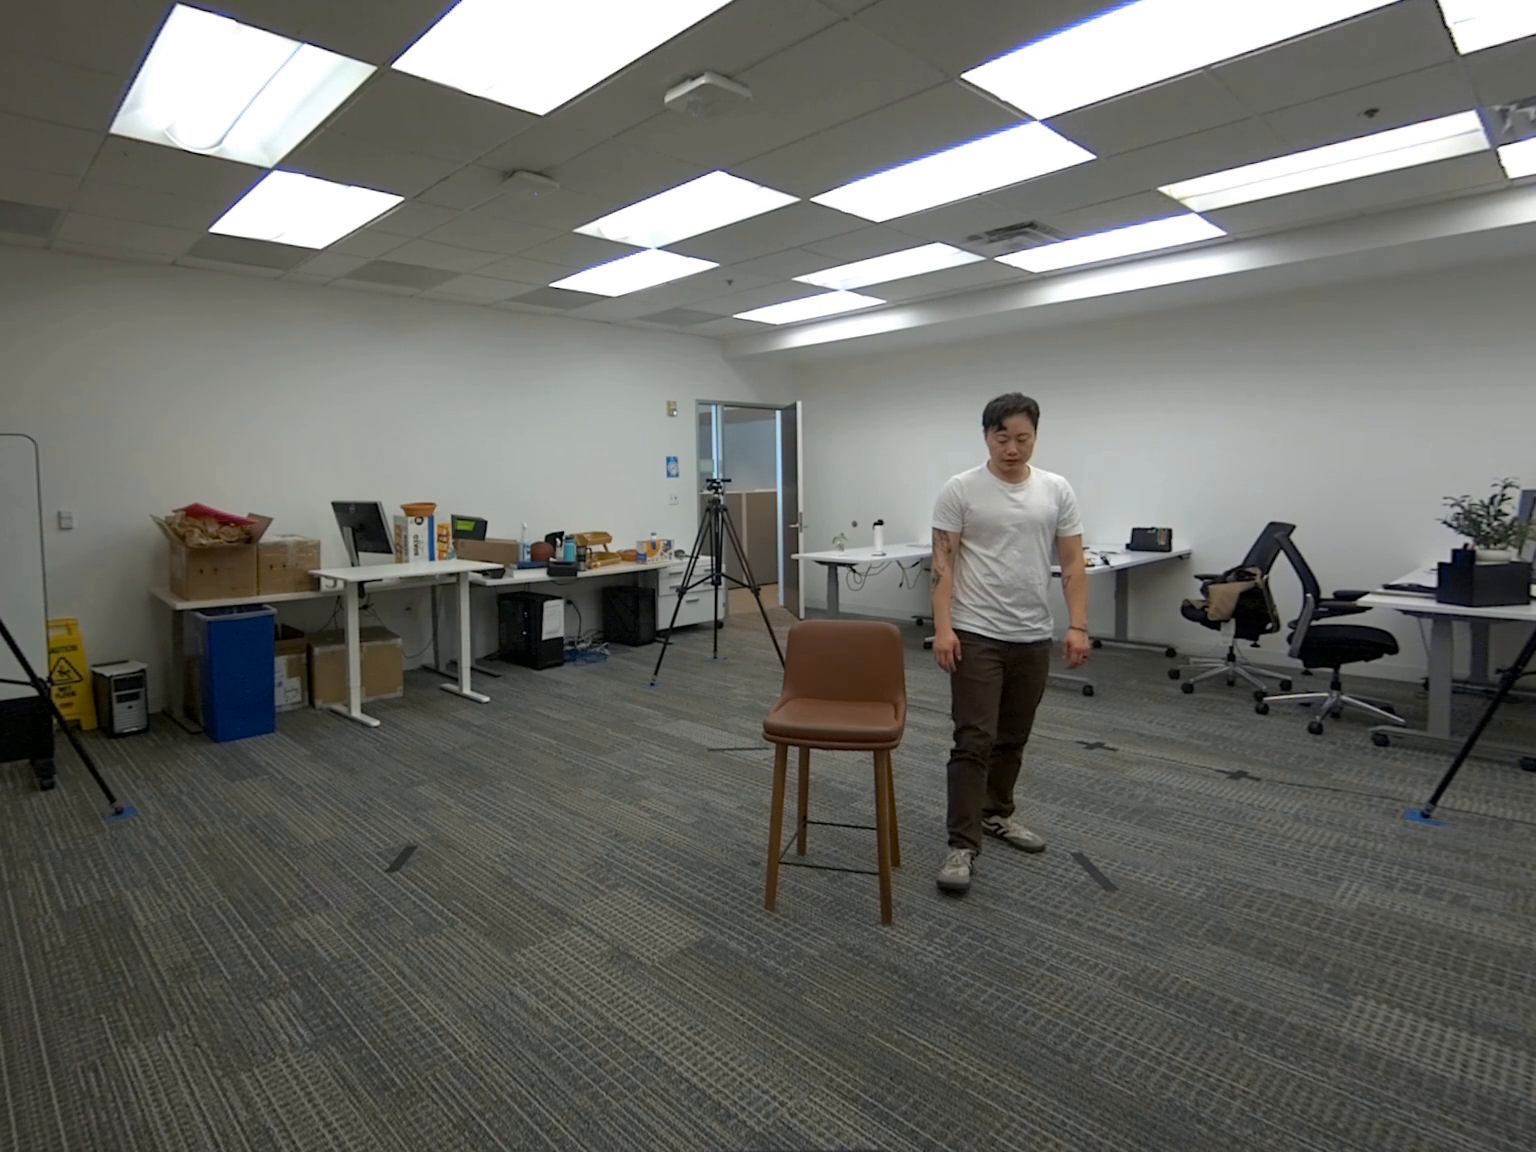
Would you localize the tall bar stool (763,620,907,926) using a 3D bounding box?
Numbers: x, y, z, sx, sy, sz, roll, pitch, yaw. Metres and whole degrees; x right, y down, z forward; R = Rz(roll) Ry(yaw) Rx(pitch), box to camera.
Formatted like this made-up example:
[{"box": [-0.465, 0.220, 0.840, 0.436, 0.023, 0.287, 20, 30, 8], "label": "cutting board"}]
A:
[{"box": [0.241, 0.629, 2.905, 0.464, 0.887, 0.461, 1, 3, 17], "label": "tall bar stool"}]
